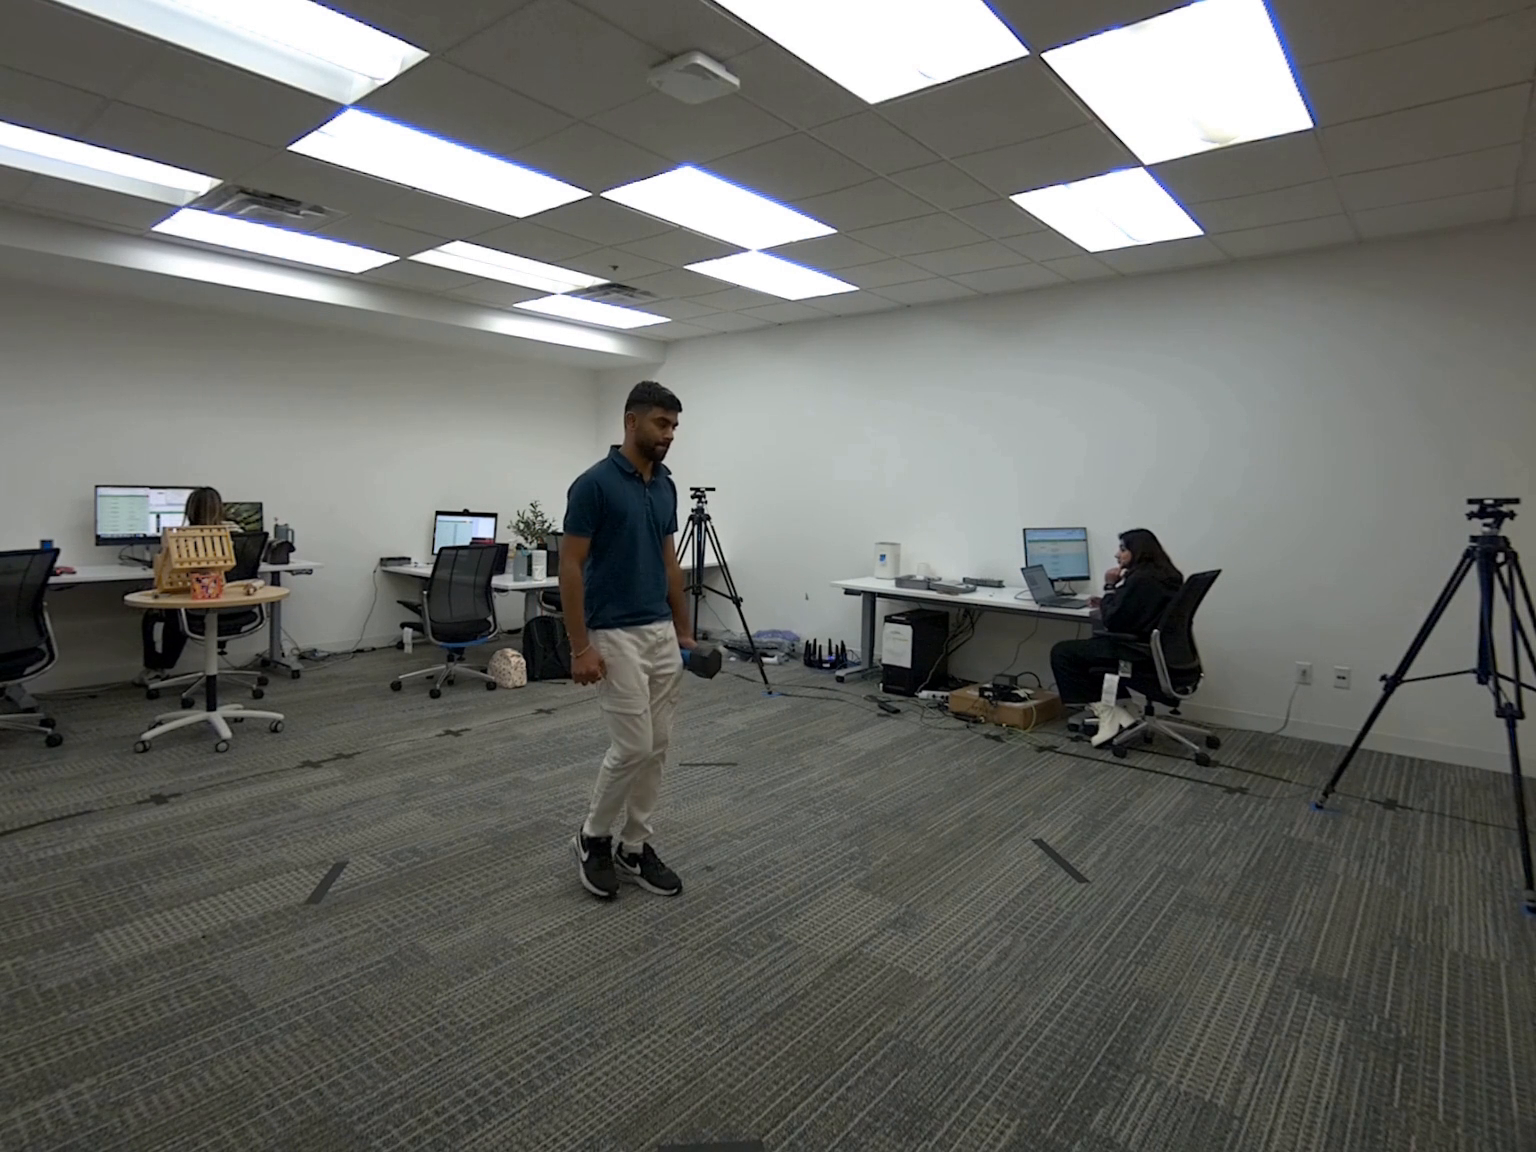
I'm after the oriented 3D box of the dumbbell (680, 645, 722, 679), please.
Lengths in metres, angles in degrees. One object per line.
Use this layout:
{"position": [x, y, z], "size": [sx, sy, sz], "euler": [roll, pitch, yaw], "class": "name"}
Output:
{"position": [-0.324, 0.294, 3.084], "size": [0.303, 0.123, 0.105], "euler": [5, 3, 38], "class": "dumbbell"}
